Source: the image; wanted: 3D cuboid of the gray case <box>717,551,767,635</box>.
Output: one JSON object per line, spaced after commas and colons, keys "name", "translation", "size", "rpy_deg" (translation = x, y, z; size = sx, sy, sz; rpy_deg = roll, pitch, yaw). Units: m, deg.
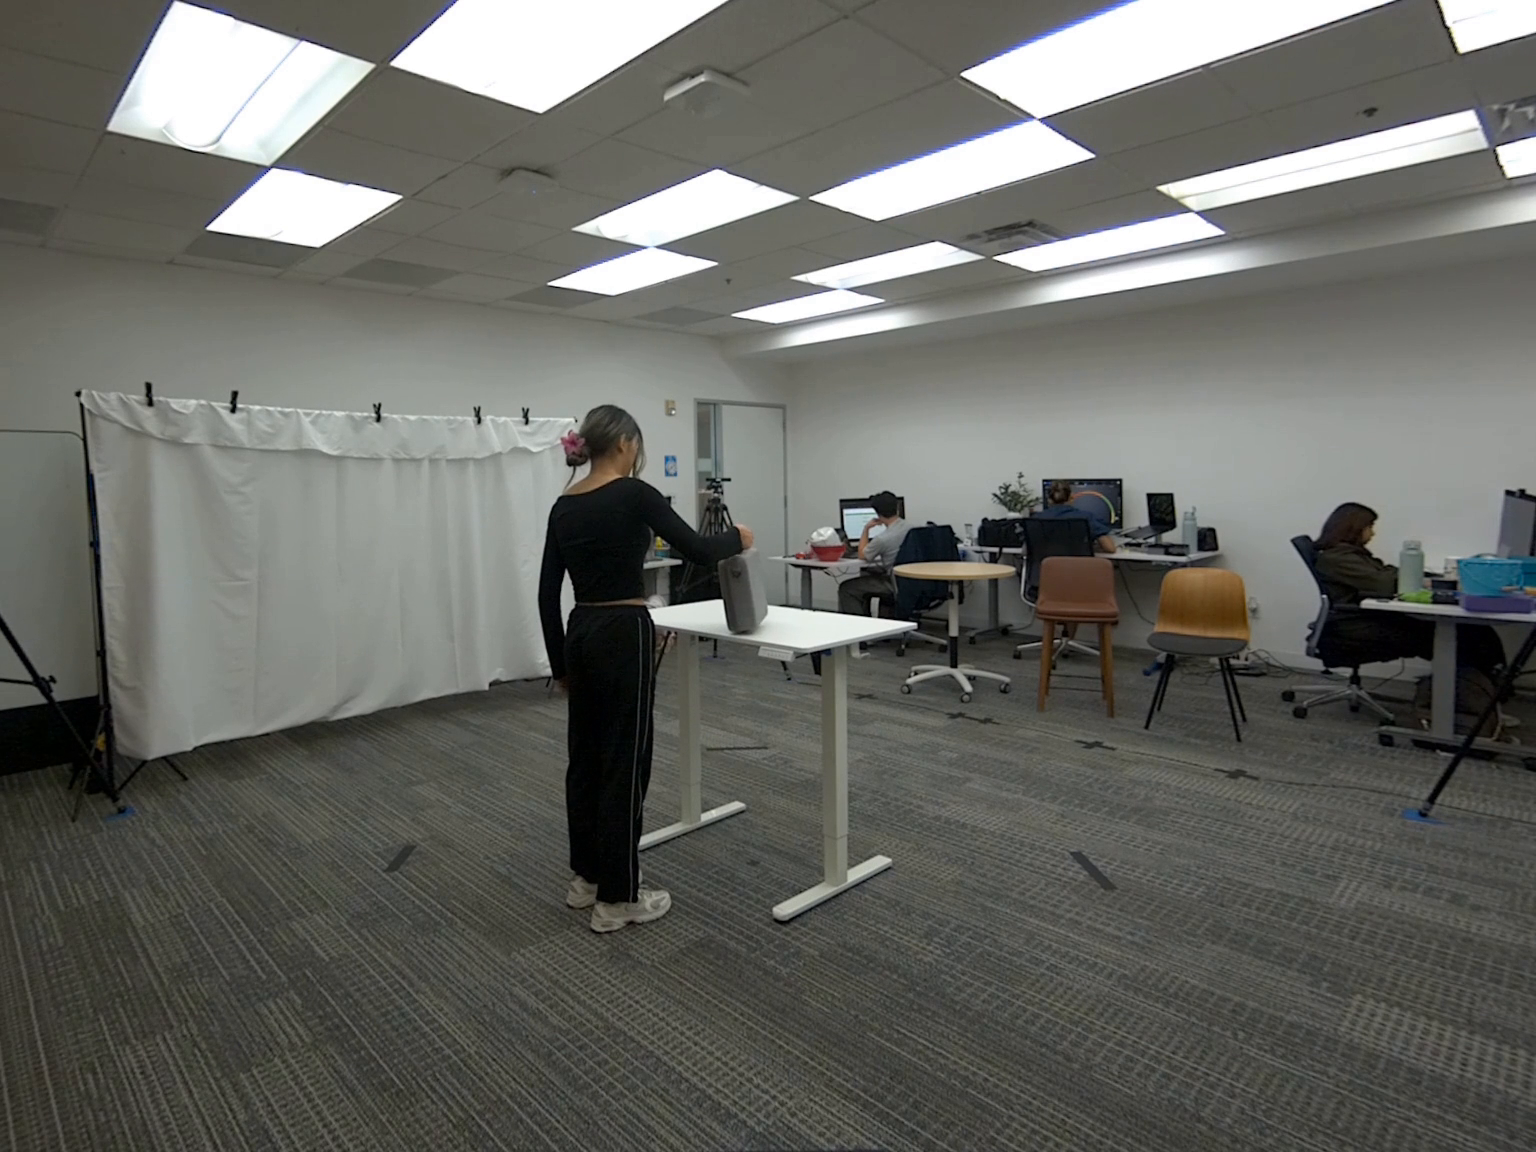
{"name": "gray case", "translation": [-0.077, 0.039, 2.883], "size": [0.105, 0.259, 0.255], "rpy_deg": [-3, 8, 12]}
